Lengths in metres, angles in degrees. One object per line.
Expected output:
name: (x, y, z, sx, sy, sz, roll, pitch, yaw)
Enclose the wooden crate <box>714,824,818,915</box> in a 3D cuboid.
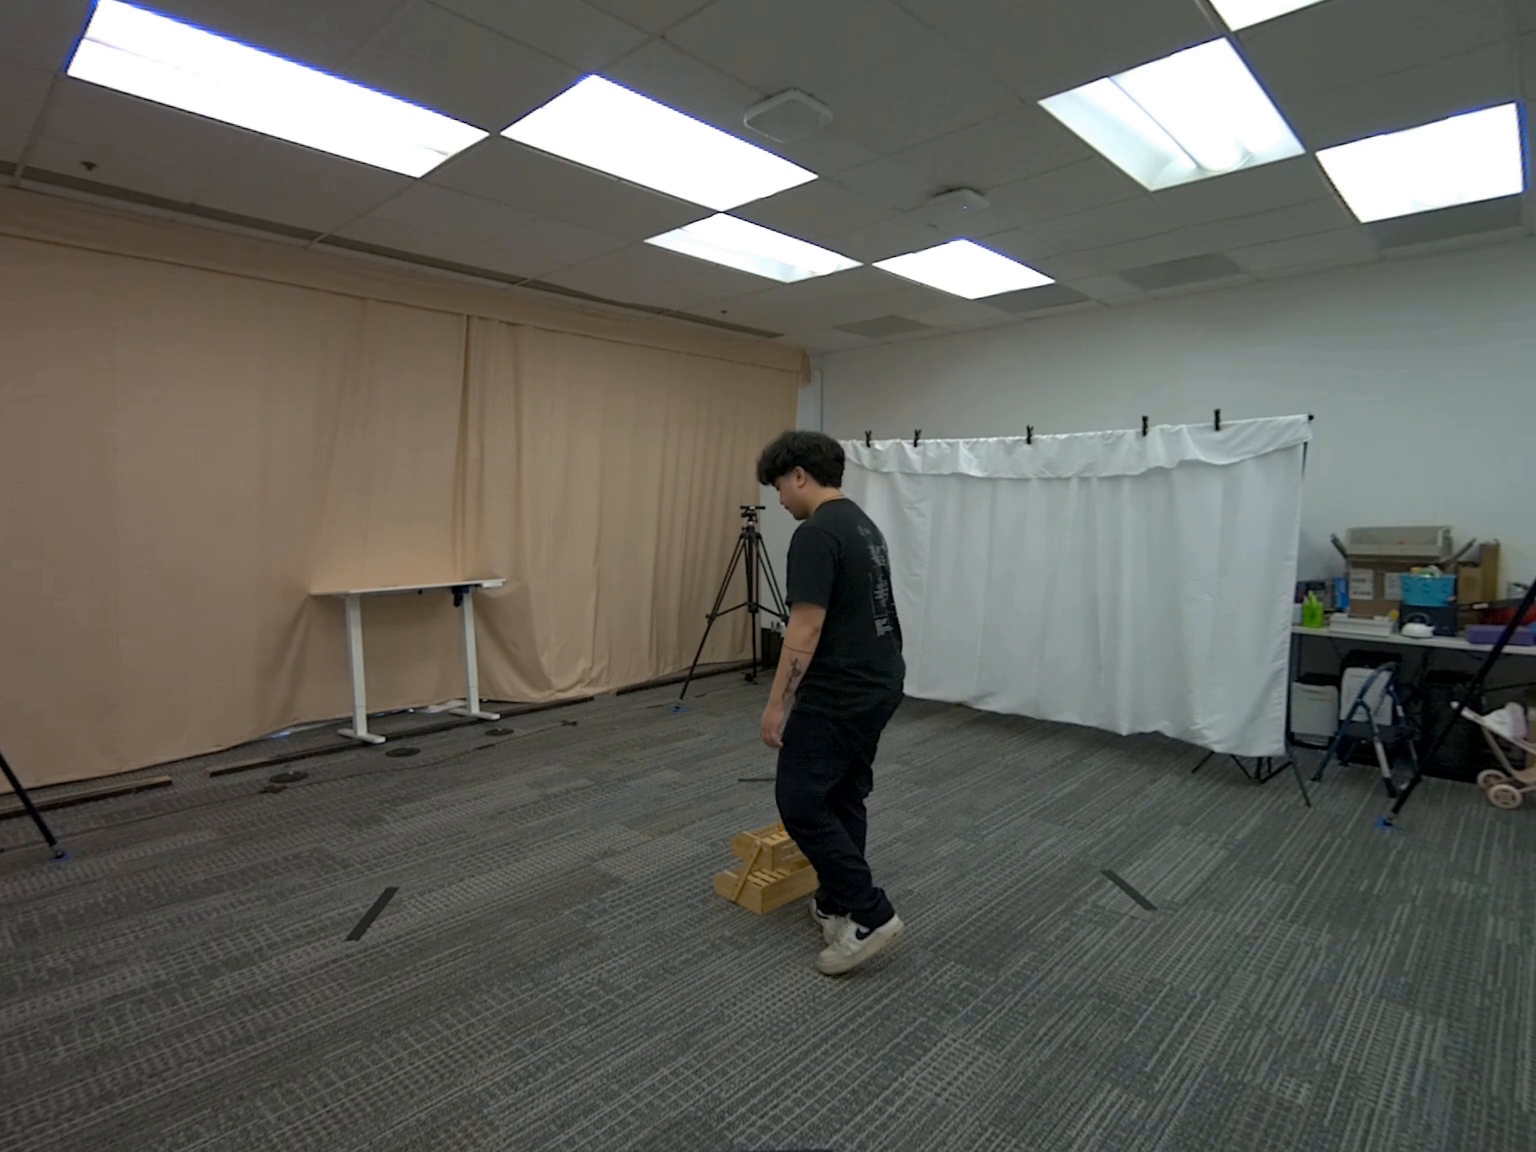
wooden crate: (0.013, 1.005, 3.029, 0.314, 0.272, 0.312, -4, 6, -44)
